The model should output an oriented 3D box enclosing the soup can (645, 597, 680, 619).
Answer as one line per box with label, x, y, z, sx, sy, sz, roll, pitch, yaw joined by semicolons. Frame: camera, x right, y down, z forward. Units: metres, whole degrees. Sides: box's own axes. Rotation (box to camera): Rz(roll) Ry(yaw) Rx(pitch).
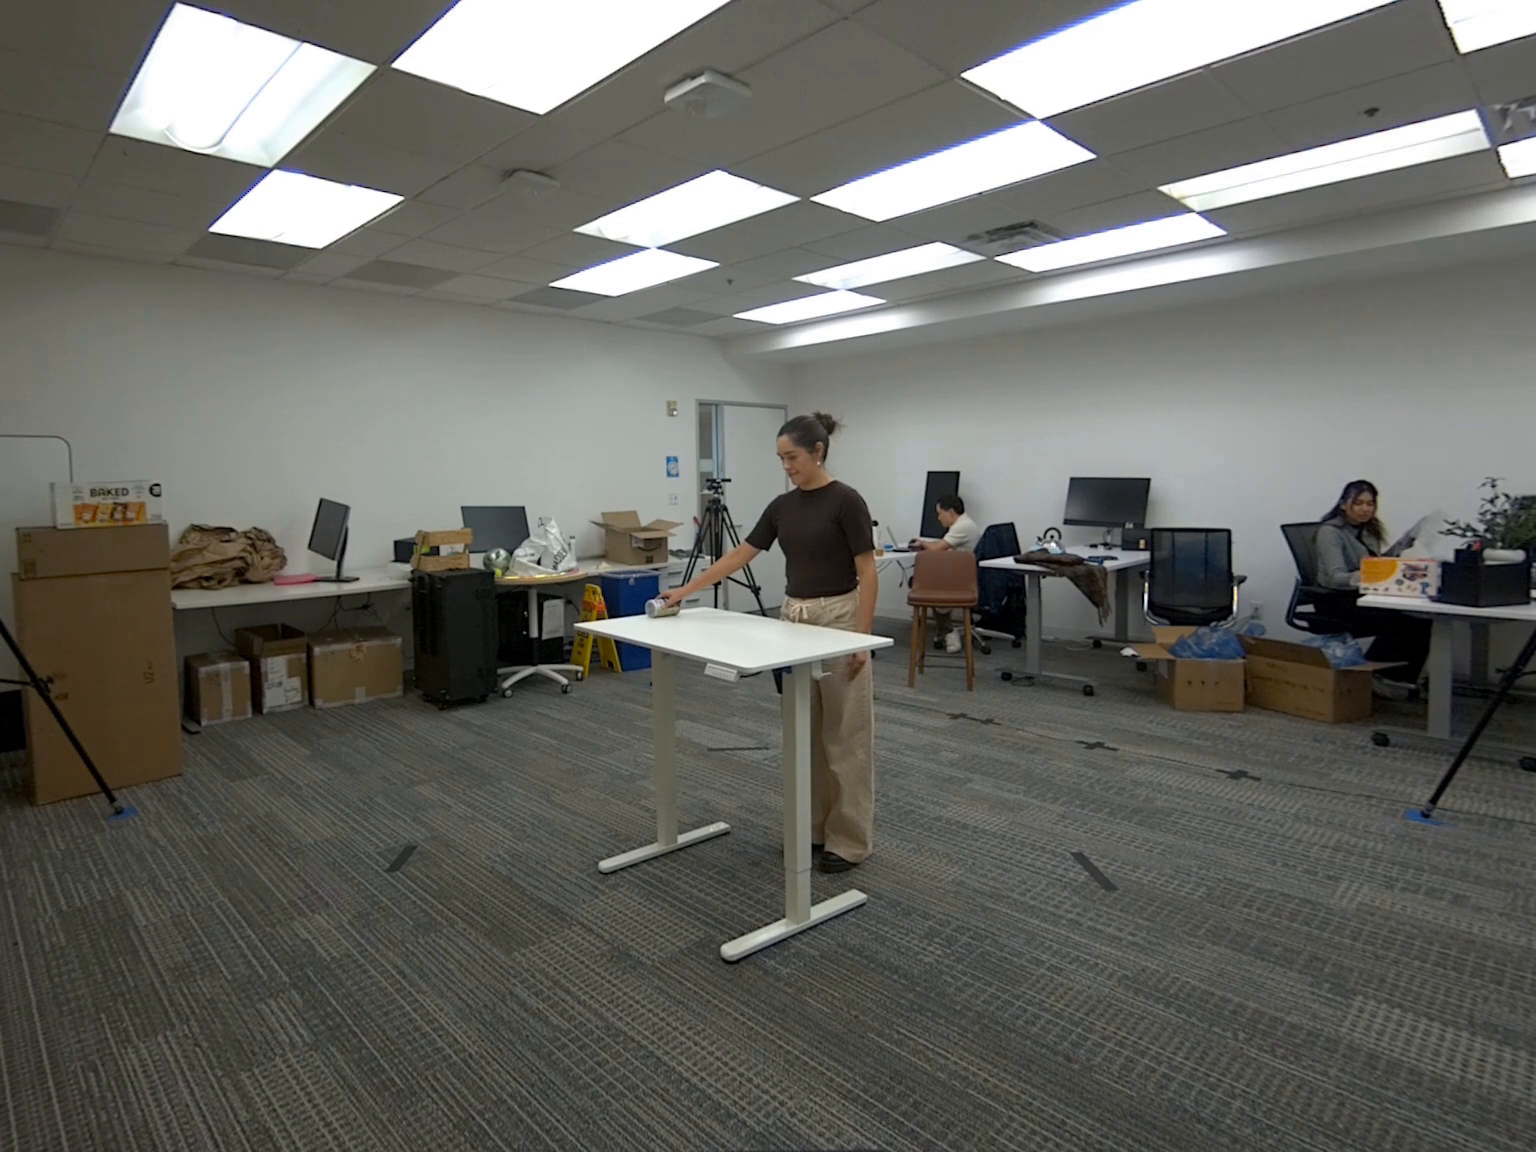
soup can;-0.398;0.117;3.243;0.120;0.067;0.068;-8;6;-12
